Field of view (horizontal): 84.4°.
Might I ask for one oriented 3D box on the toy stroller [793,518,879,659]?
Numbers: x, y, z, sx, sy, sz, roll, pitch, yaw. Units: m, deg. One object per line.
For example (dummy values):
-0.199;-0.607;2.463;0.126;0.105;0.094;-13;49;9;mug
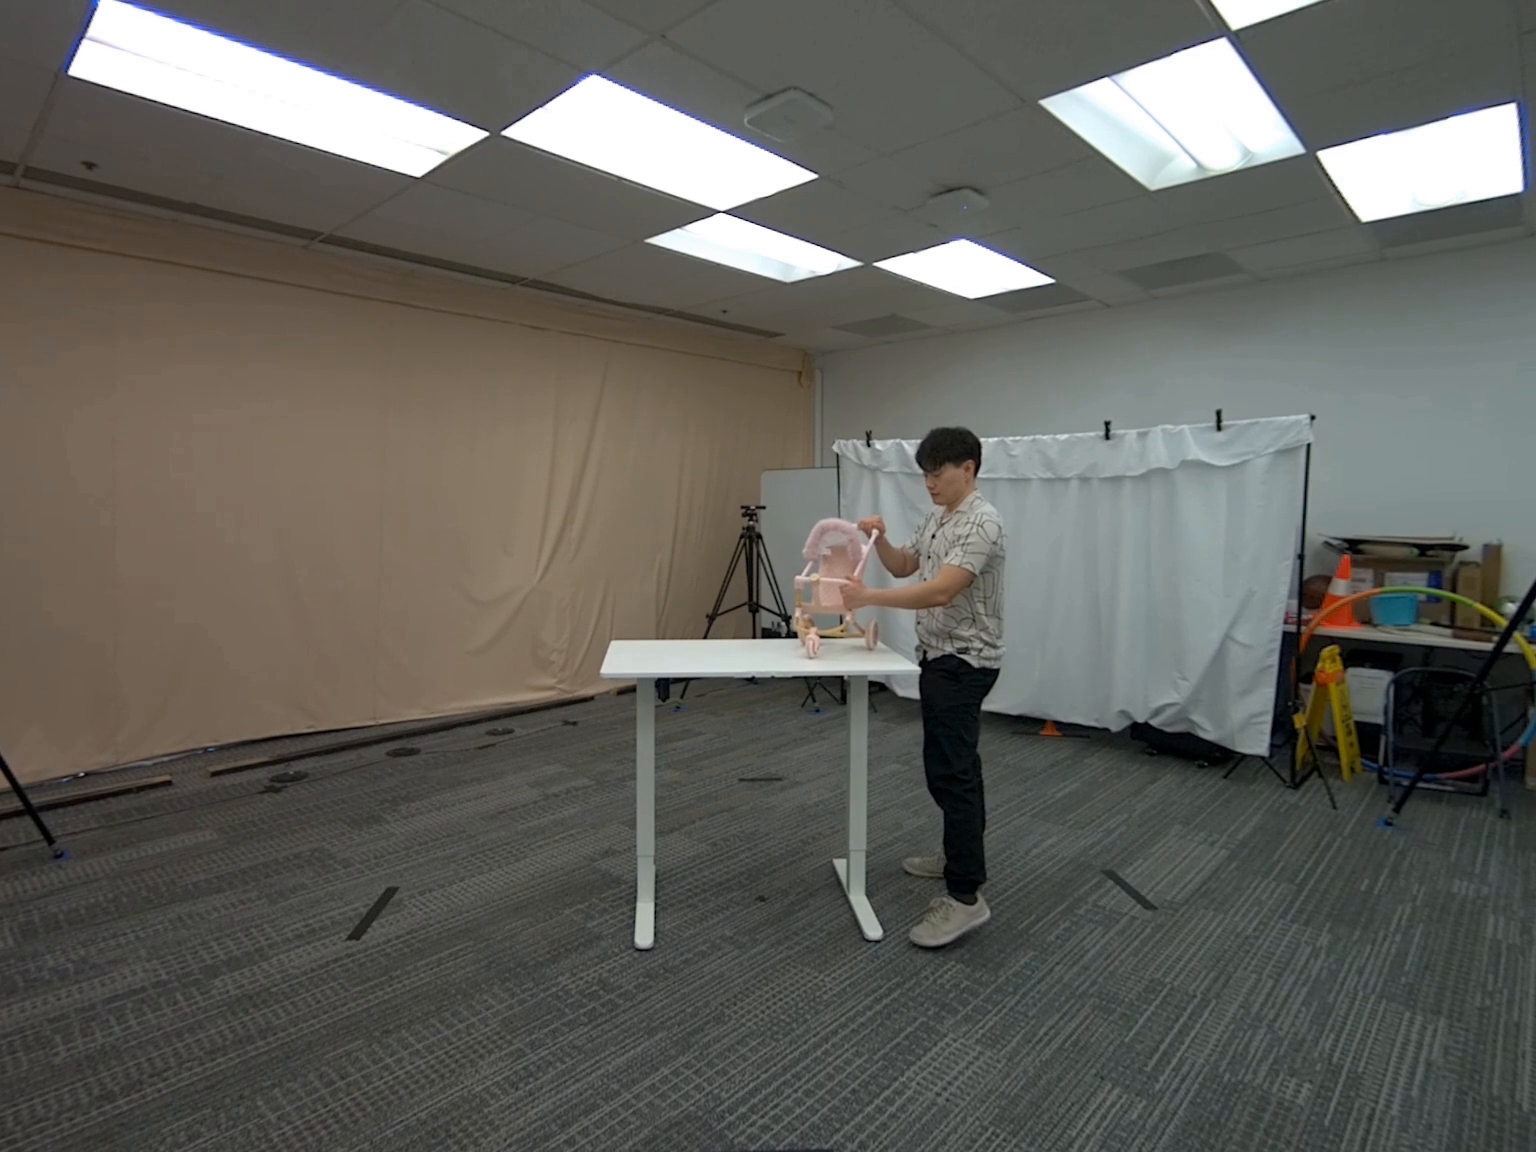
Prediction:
0.231;0.038;2.976;0.290;0.537;0.330;2;-10;32;toy stroller
